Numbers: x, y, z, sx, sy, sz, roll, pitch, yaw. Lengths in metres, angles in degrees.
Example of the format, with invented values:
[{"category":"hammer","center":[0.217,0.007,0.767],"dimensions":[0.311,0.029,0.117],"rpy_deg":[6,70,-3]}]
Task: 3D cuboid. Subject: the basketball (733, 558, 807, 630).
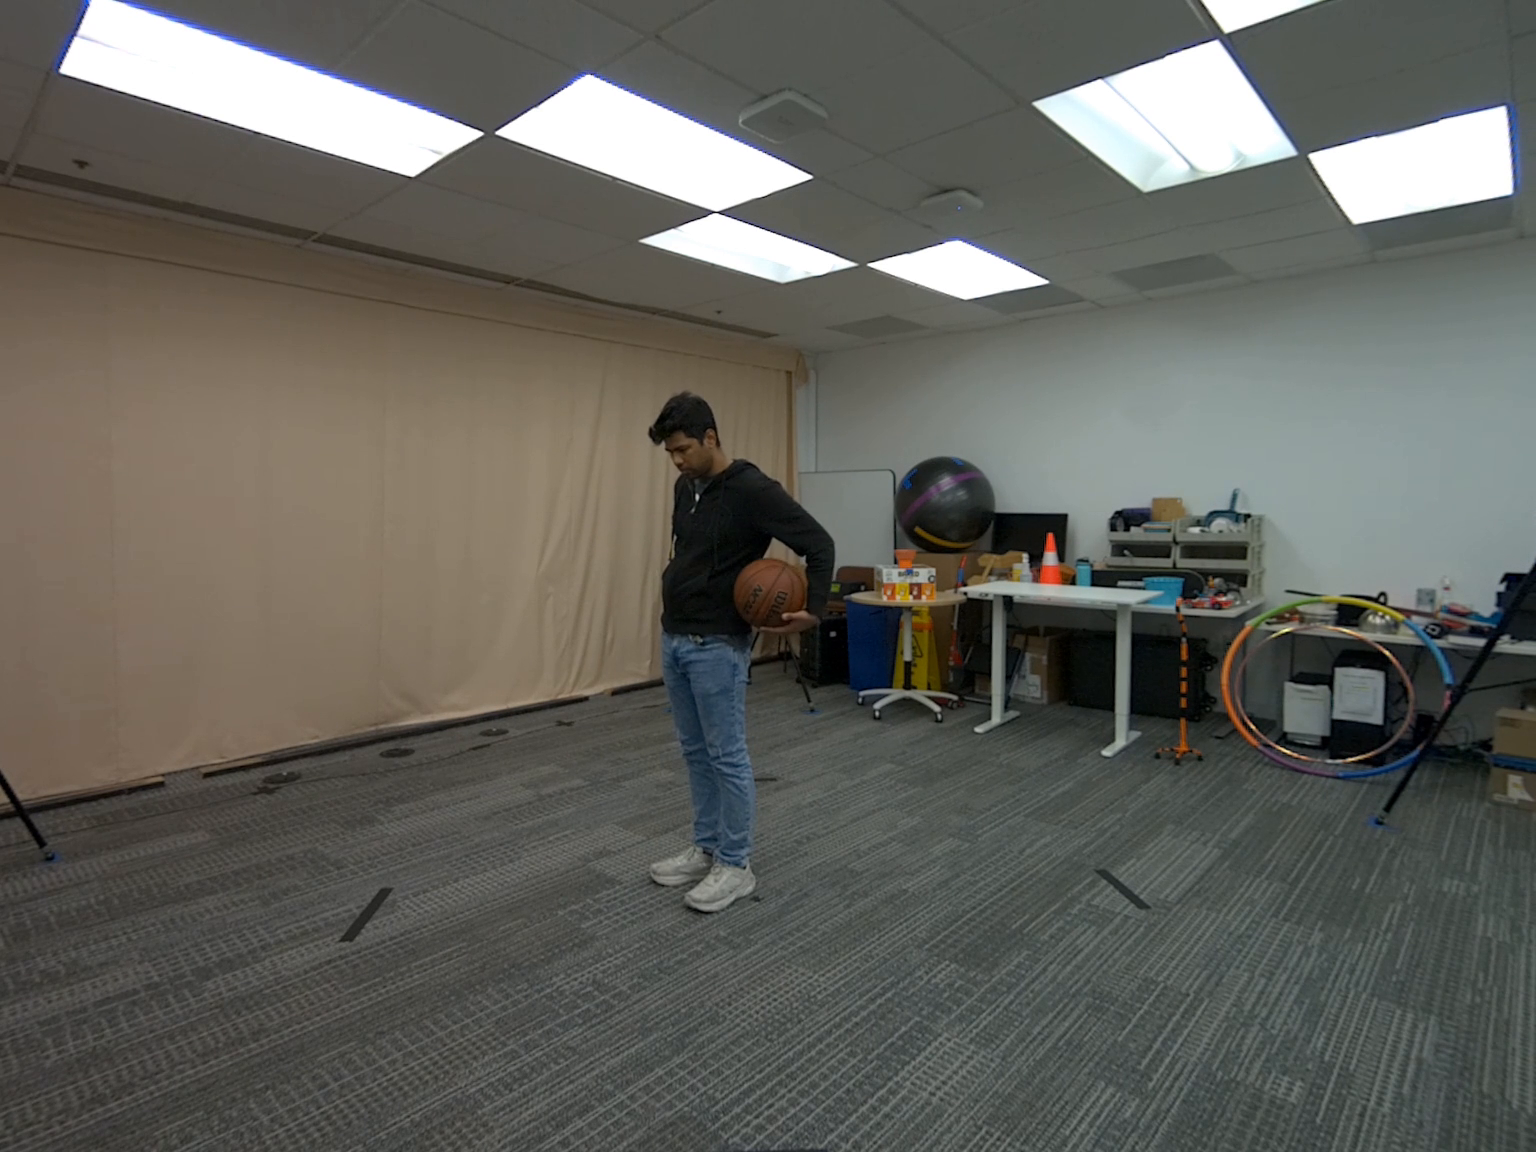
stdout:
[{"category":"basketball","center":[-0.005,0.047,2.810],"dimensions":[0.236,0.235,0.237],"rpy_deg":[0,4,-2]}]
